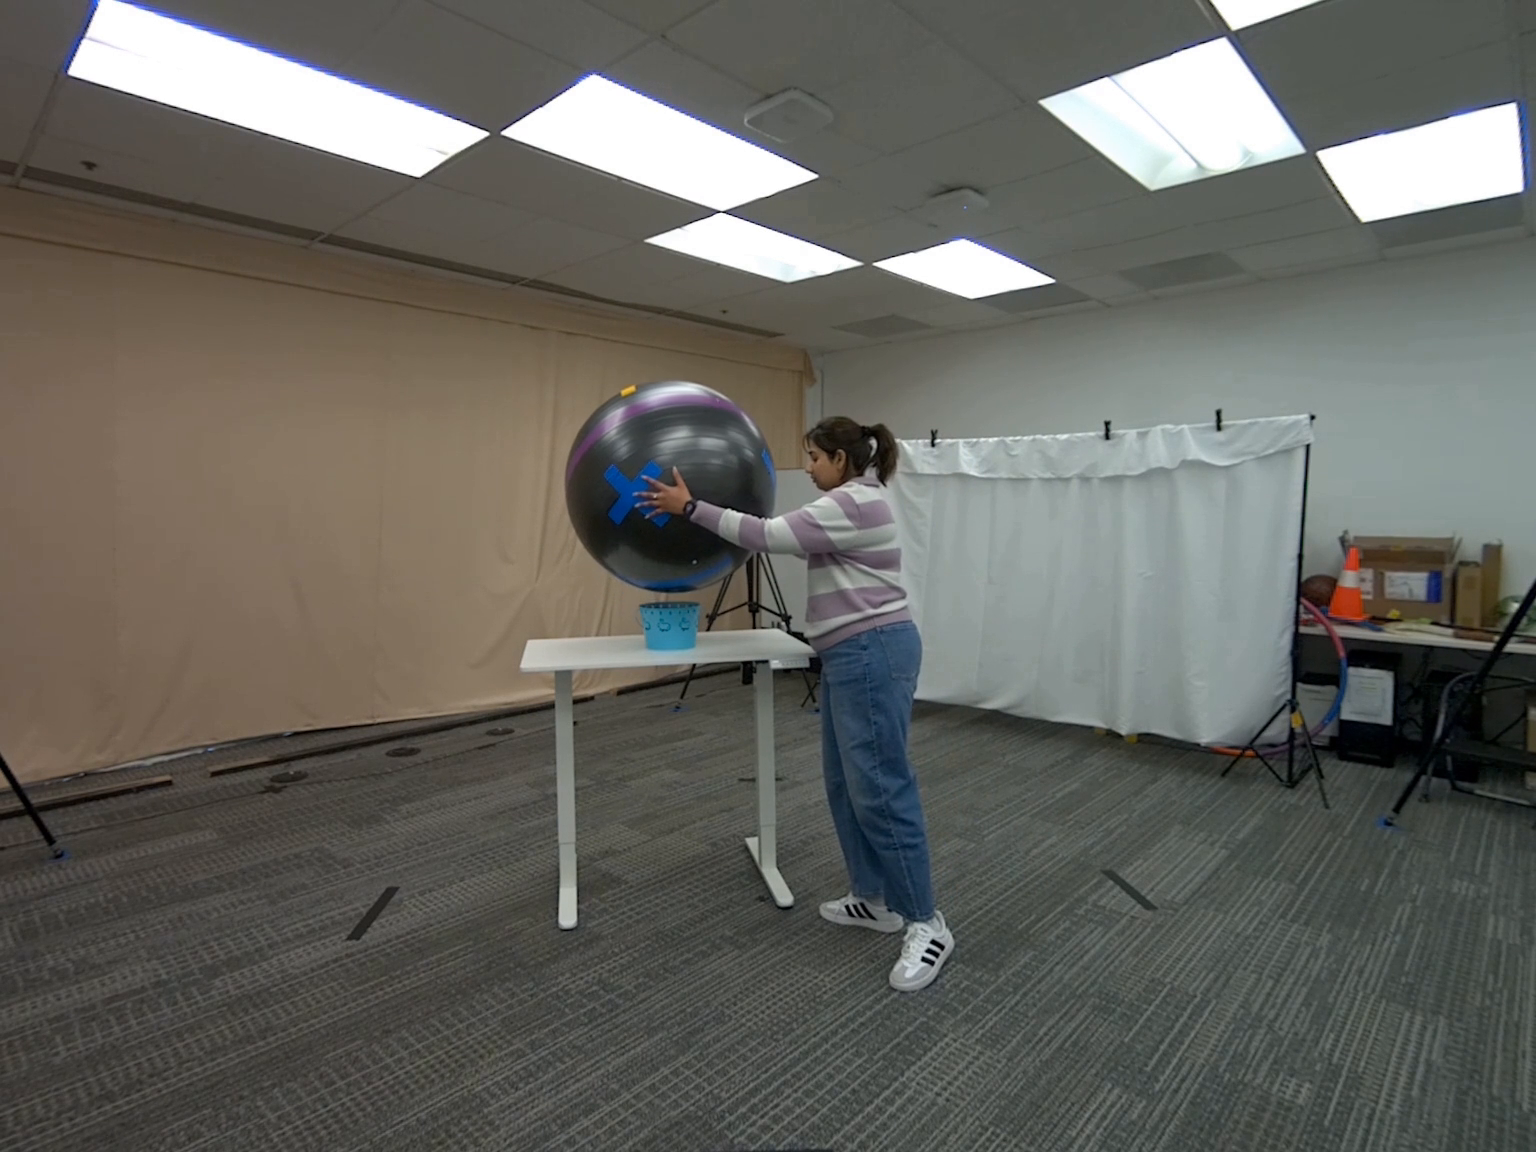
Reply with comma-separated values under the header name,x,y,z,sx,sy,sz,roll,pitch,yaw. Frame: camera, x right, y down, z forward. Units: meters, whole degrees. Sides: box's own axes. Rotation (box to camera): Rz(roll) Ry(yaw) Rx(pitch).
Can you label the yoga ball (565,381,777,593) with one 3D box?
name,x,y,z,sx,sy,sz,roll,pitch,yaw
yoga ball,-0.353,-0.314,3.026,0.757,0.756,0.760,0,4,-2
